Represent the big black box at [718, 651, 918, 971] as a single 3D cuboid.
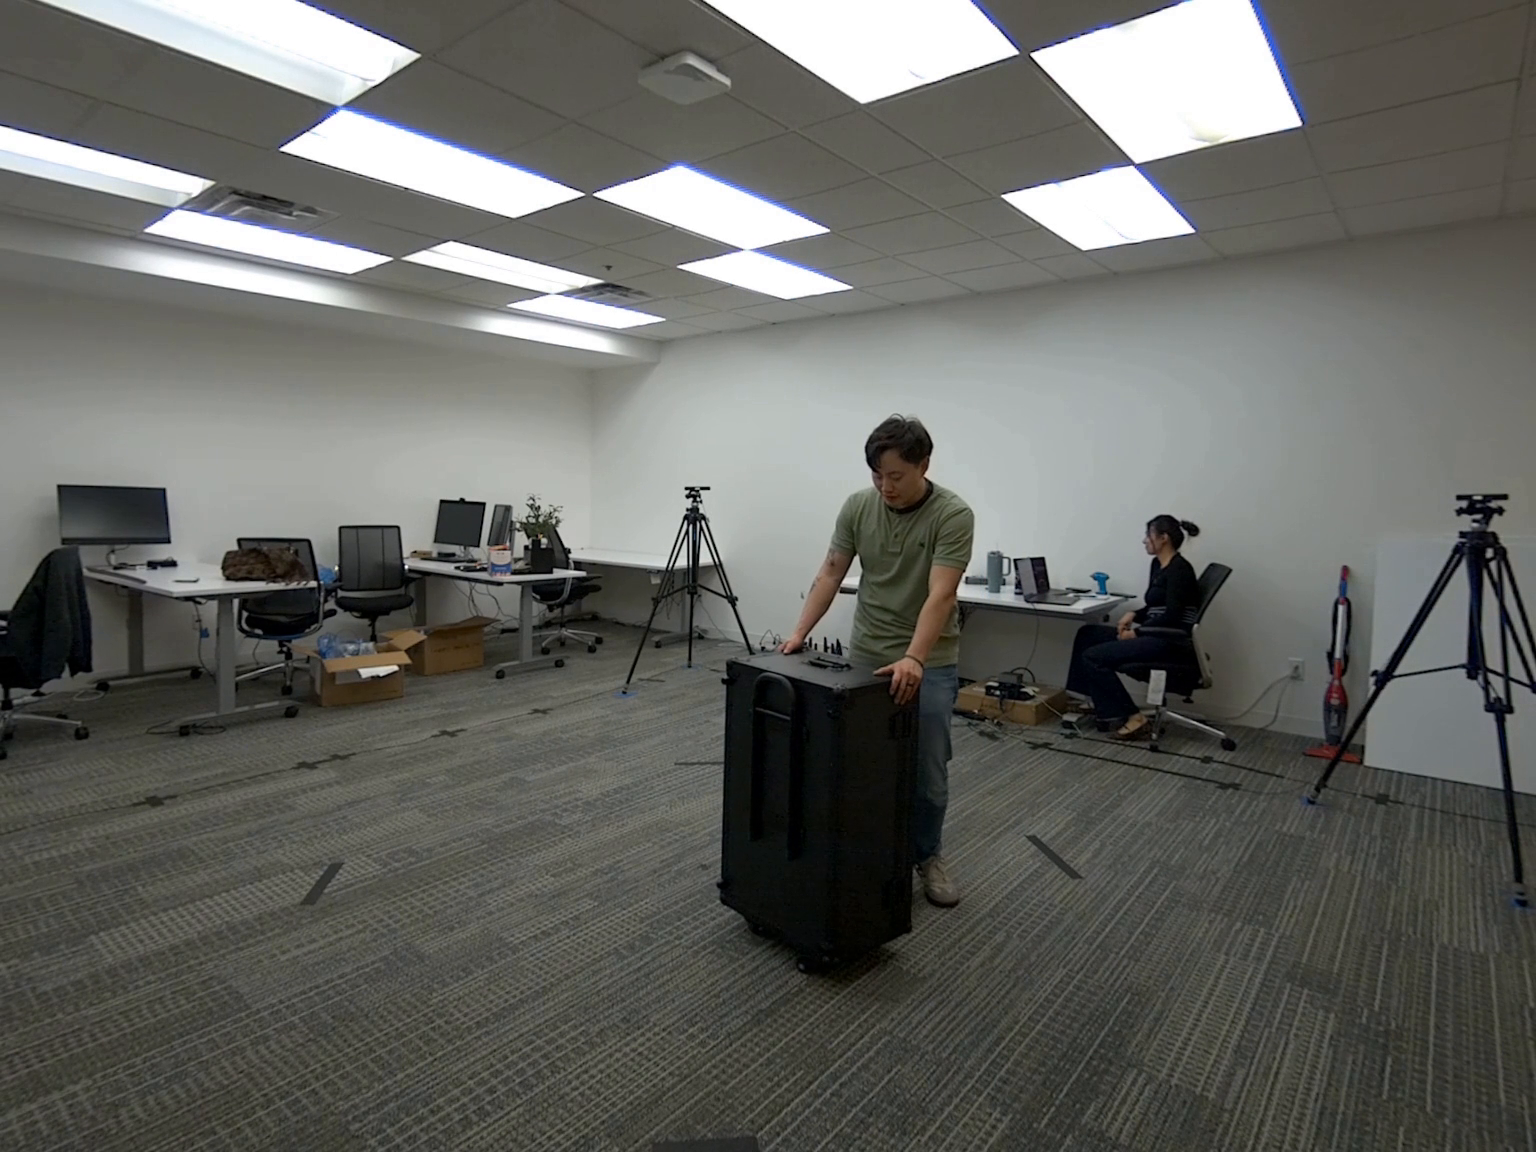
[{"bbox_3d":[0.135,0.699,2.588,0.384,0.858,0.539,-3,6,-41],"label":"big black box"}]
